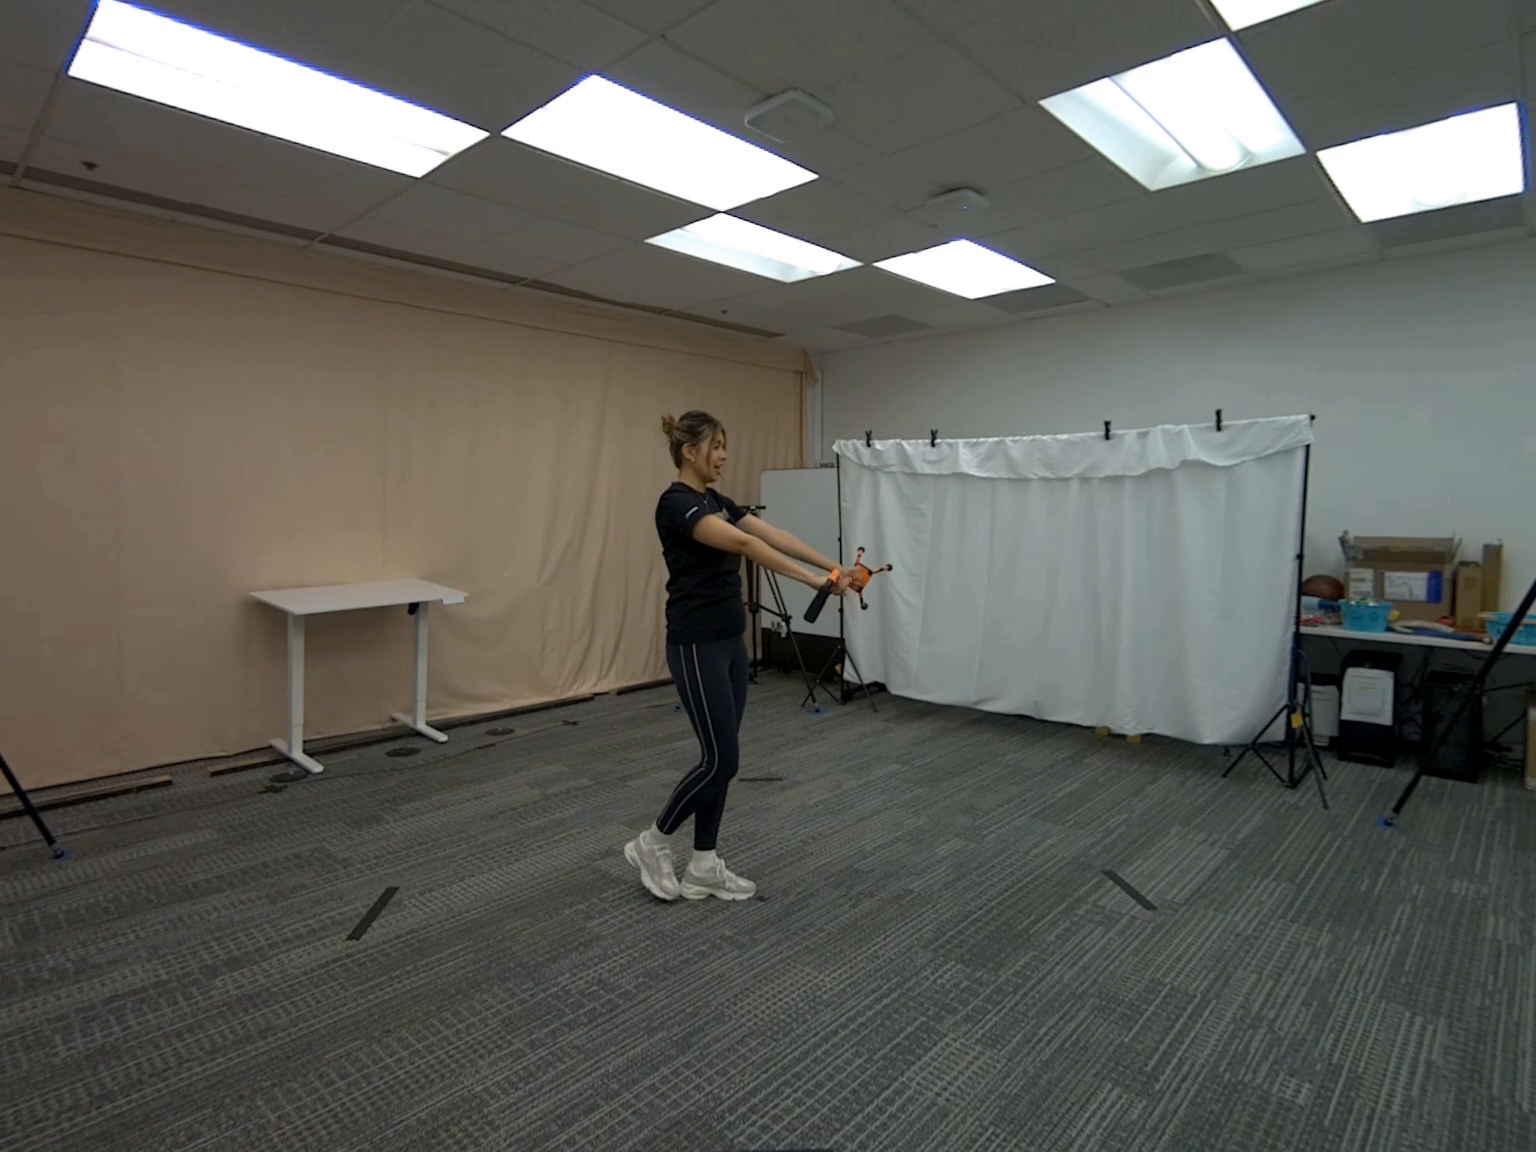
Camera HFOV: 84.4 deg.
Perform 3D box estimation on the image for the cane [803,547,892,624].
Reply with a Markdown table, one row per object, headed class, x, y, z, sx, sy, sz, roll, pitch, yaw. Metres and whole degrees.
| class | x | y | z | sx | sy | sz | roll | pitch | yaw |
| --- | --- | --- | --- | --- | --- | --- | --- | --- | --- |
| cane | 0.261 | 0.029 | 2.792 | 0.154 | 0.206 | 0.893 | 33 | 11 | 11 |
